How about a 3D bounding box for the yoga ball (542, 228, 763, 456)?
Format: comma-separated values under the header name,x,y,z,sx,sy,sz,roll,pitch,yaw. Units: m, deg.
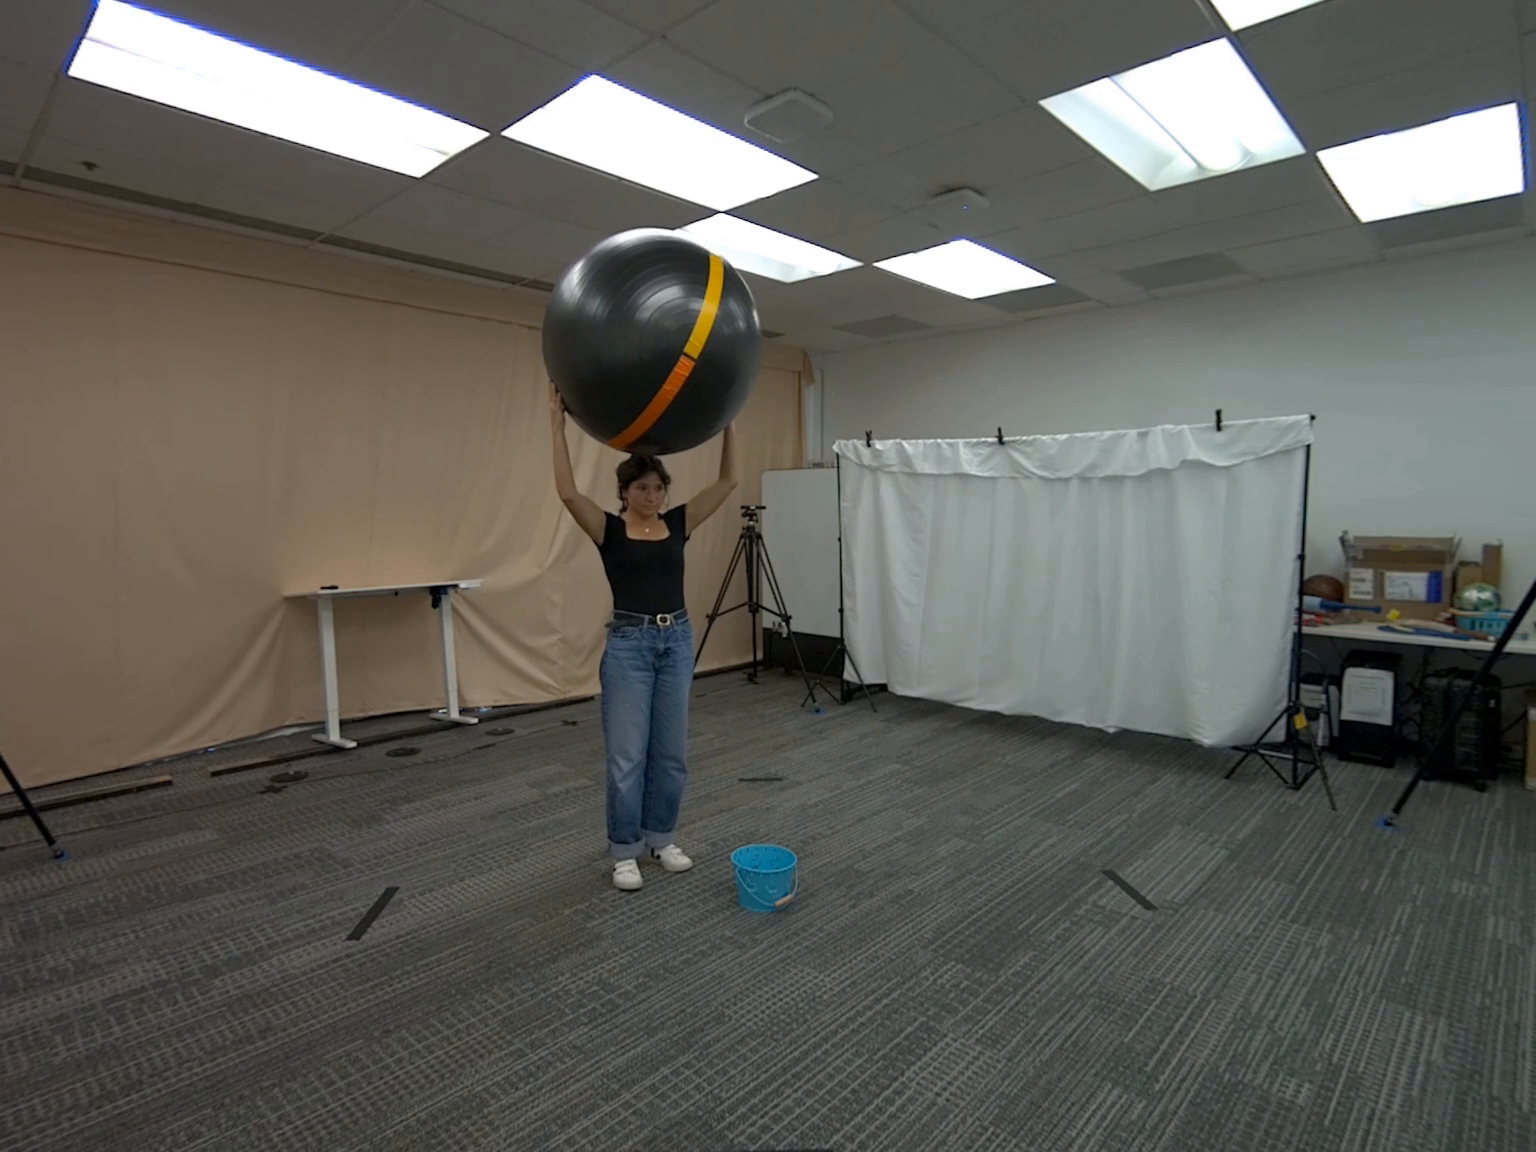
name,x,y,z,sx,sy,sz,roll,pitch,yaw
yoga ball,-0.399,-0.795,2.920,0.757,0.756,0.760,0,4,-2
